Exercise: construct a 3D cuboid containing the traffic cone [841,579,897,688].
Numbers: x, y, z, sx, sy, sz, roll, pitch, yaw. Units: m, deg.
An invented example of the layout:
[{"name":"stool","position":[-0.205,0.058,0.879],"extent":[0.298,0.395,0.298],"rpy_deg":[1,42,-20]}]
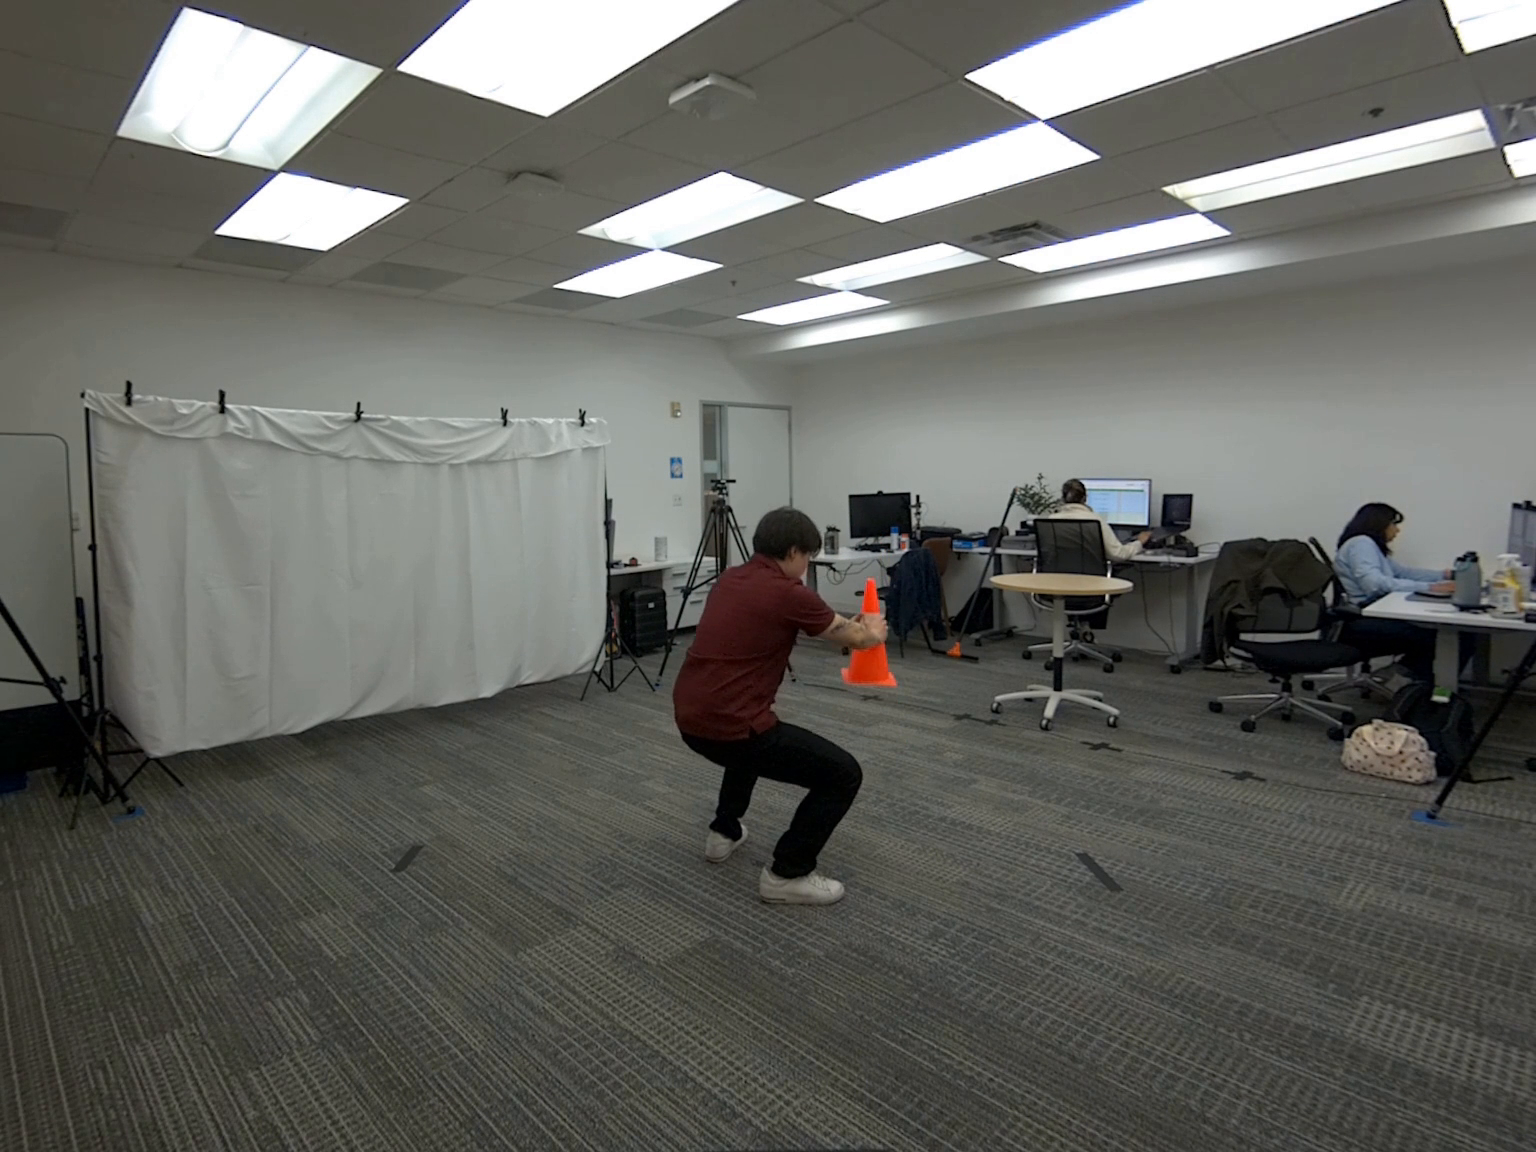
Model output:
[{"name":"traffic cone","position":[0.392,0.206,3.276],"extent":[0.203,0.381,0.207],"rpy_deg":[1,7,-4]}]
